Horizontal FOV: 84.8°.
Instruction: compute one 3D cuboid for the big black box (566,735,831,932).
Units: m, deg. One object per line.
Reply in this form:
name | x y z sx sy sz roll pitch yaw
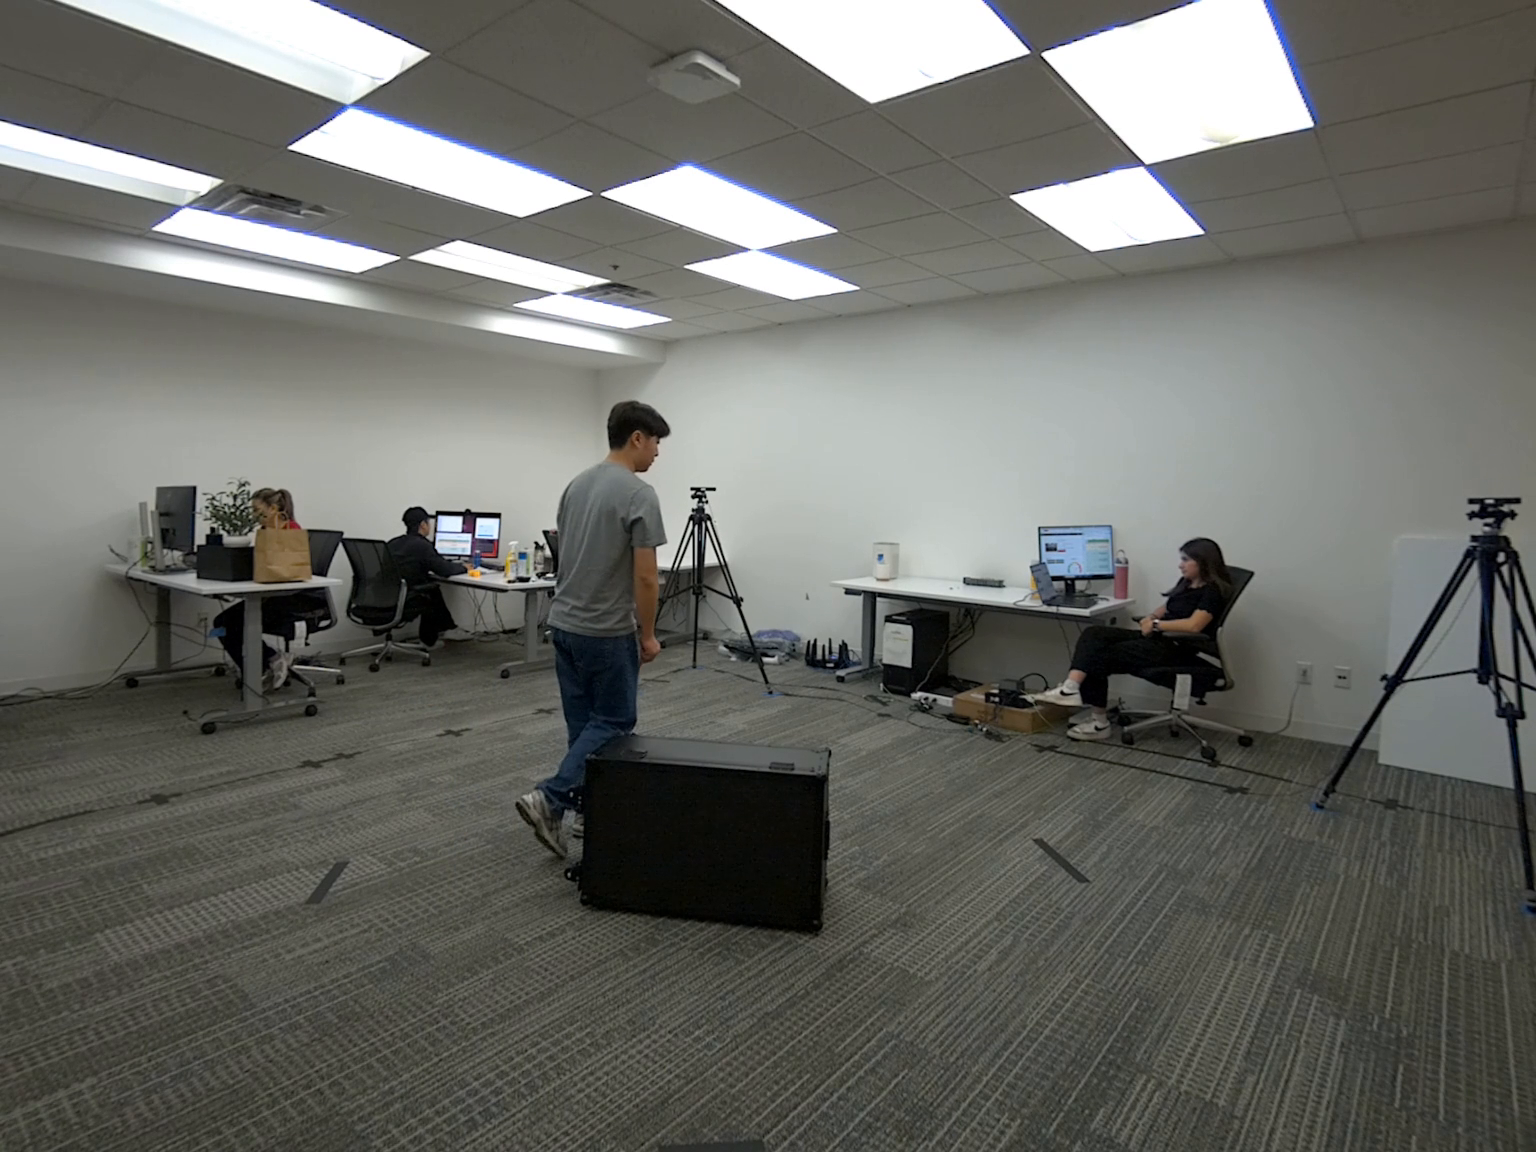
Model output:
big black box | -0.232 0.825 2.898 0.871 0.521 0.392 2 1 9
